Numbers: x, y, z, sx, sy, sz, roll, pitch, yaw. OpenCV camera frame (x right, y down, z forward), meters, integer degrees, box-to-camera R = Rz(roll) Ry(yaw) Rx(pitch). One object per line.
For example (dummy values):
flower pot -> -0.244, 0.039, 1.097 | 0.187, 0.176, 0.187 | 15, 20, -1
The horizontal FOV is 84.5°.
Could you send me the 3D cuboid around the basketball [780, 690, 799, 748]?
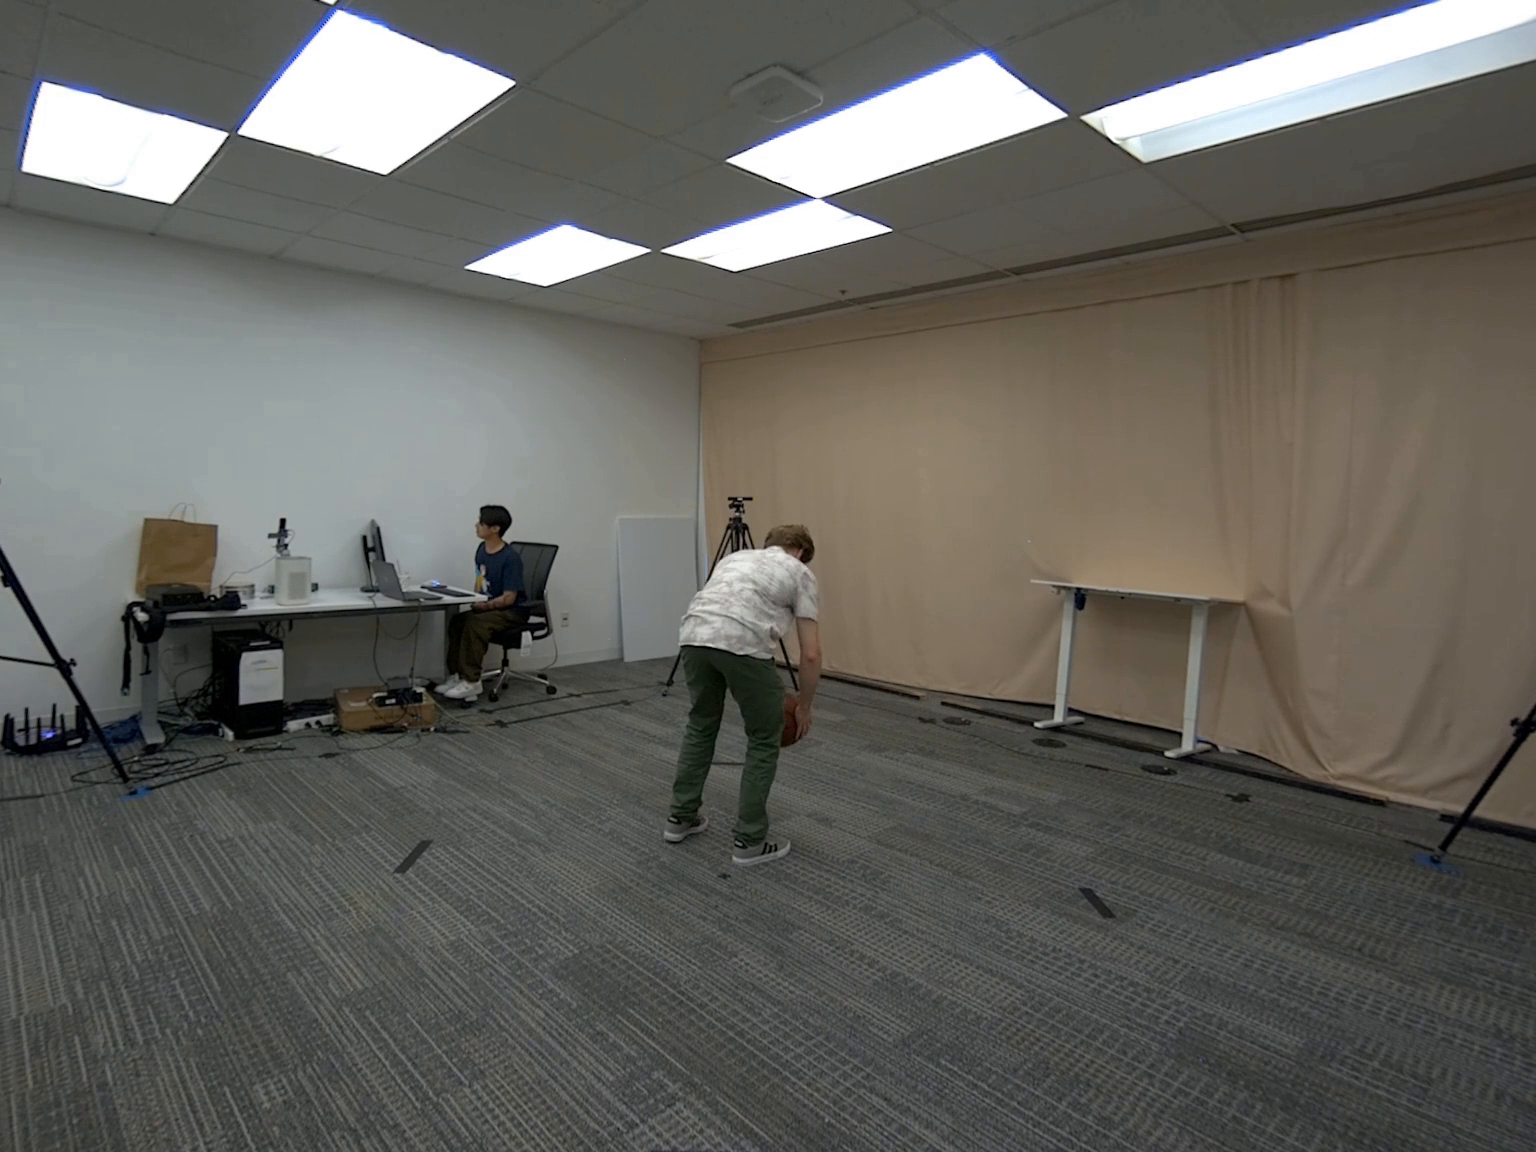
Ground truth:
basketball -> 0.043, 0.613, 3.587 | 0.236, 0.235, 0.237 | 1, 4, -1
